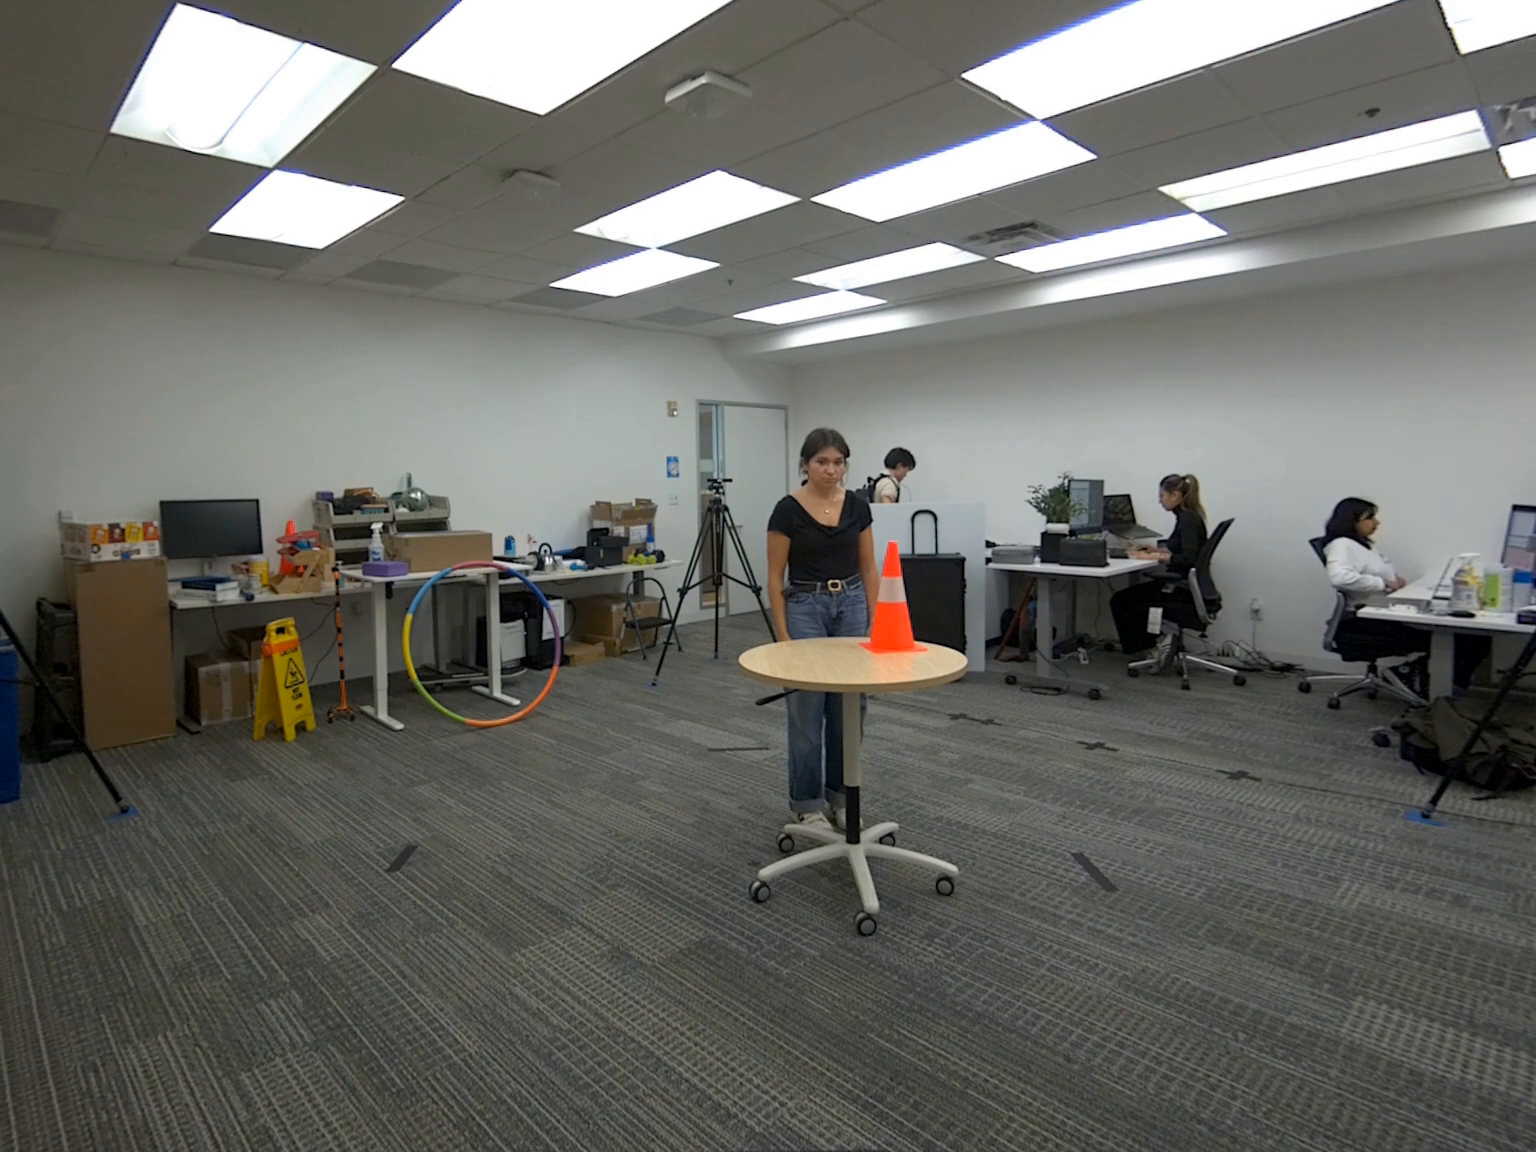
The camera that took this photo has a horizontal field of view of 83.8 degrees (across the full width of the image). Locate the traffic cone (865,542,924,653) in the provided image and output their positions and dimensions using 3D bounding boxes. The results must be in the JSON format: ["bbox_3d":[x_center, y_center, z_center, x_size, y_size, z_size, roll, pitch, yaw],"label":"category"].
[{"bbox_3d":[0.446,0.072,3.080,0.204,0.383,0.205,0,3,-7],"label":"traffic cone"}]
